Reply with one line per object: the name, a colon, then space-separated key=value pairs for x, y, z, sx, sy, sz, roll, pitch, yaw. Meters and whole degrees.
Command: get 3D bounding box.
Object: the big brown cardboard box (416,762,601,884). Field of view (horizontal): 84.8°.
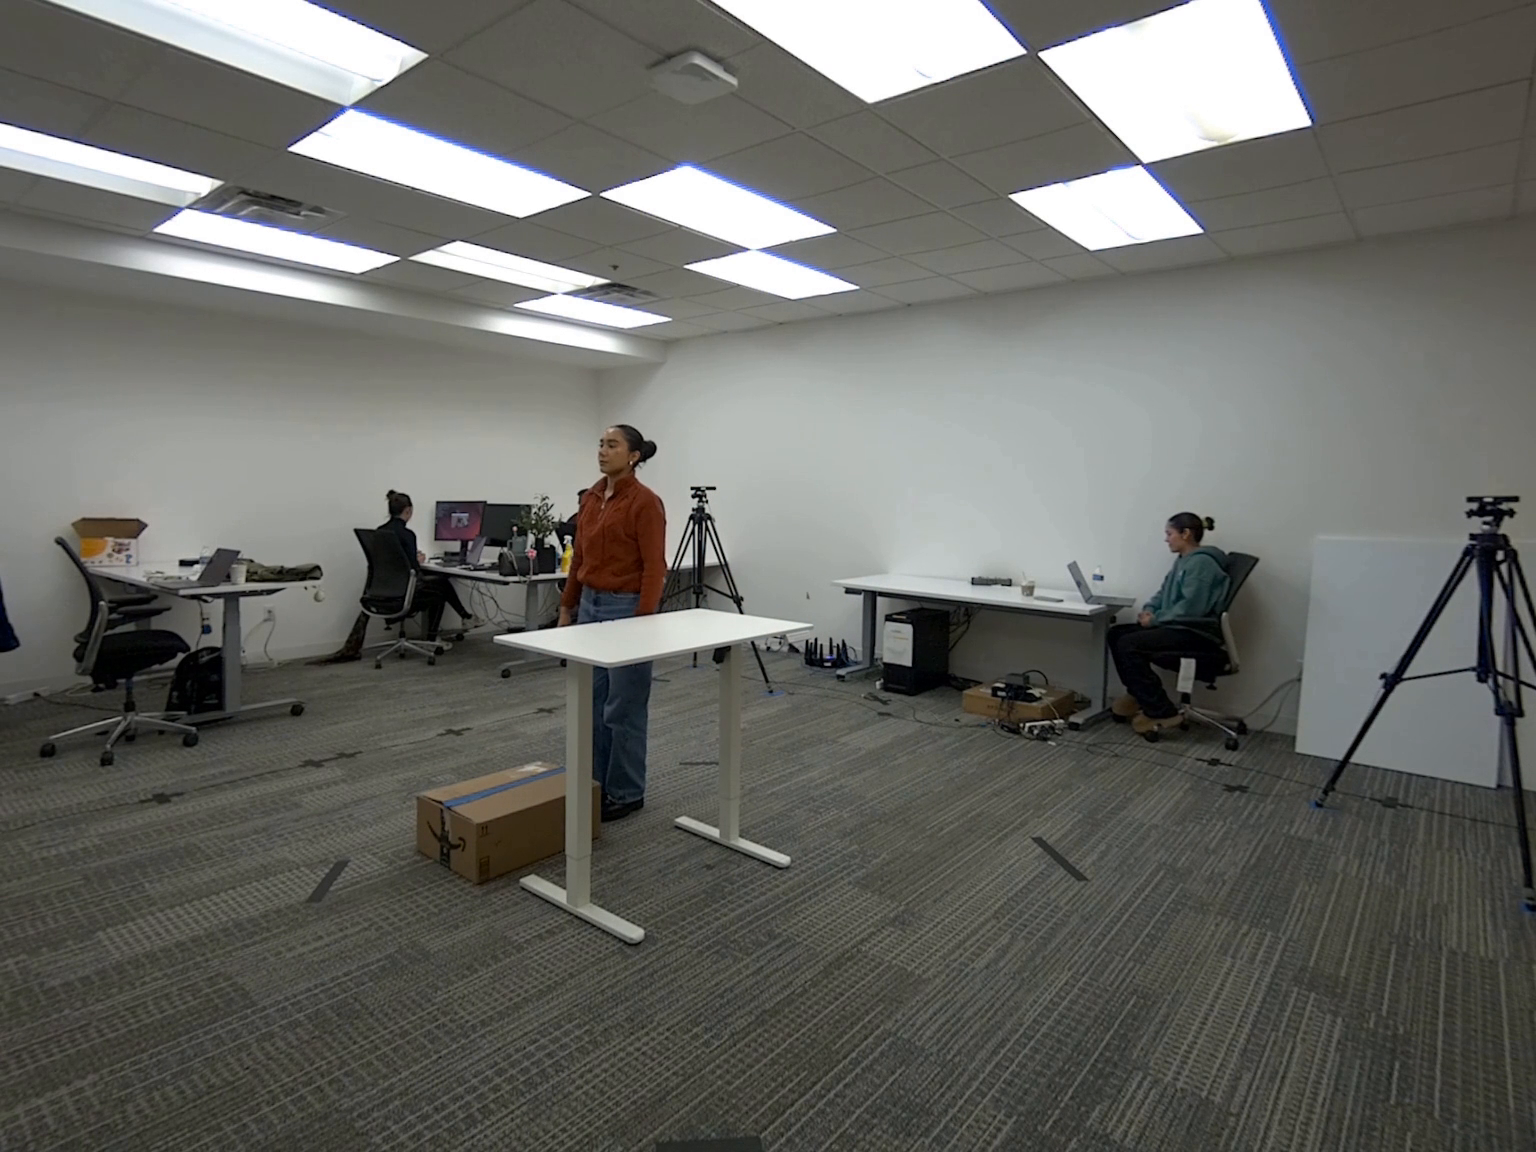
big brown cardboard box: x=-1.007 y=0.926 z=3.285 sx=0.431 sy=0.232 sz=0.572 roll=4 pitch=7 yaw=39
